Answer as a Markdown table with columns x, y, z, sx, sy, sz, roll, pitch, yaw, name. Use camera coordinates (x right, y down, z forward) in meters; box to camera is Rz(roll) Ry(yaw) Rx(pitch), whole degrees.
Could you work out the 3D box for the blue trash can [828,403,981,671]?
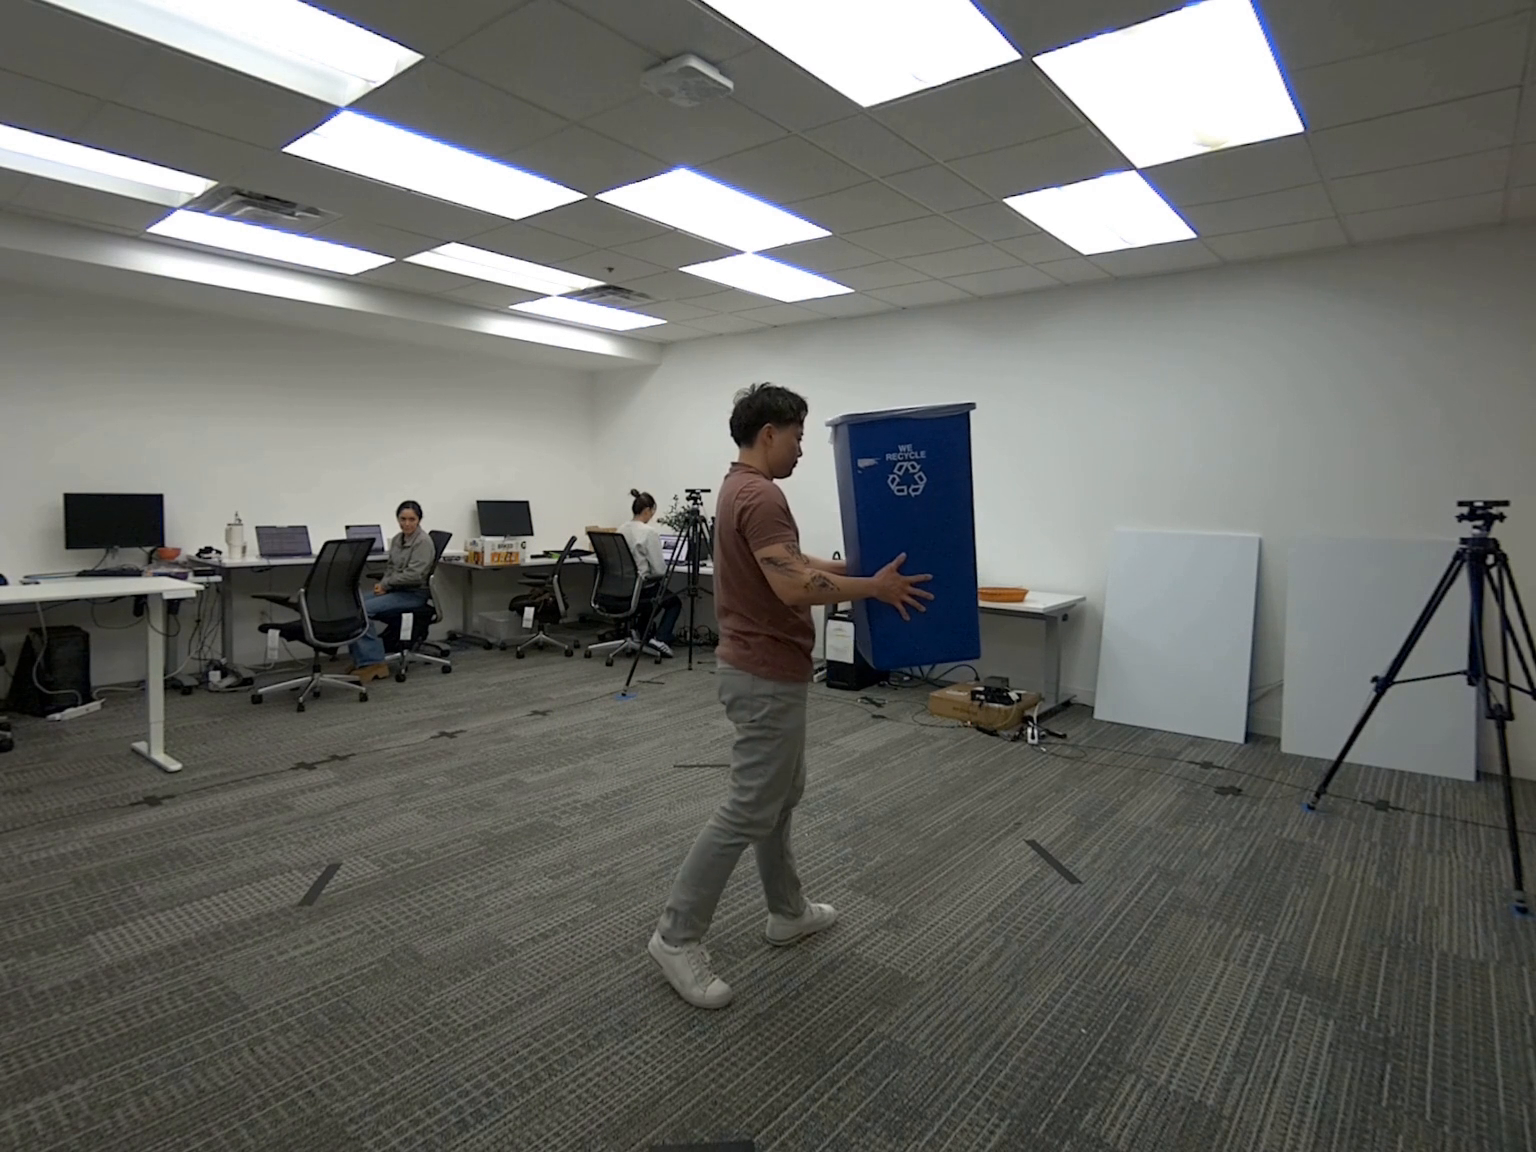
| x | y | z | sx | sy | sz | roll | pitch | yaw | name |
| --- | --- | --- | --- | --- | --- | --- | --- | --- | --- |
| 0.403 | -0.129 | 2.469 | 0.373 | 0.709 | 0.381 | -6 | 6 | -3 | blue trash can |
